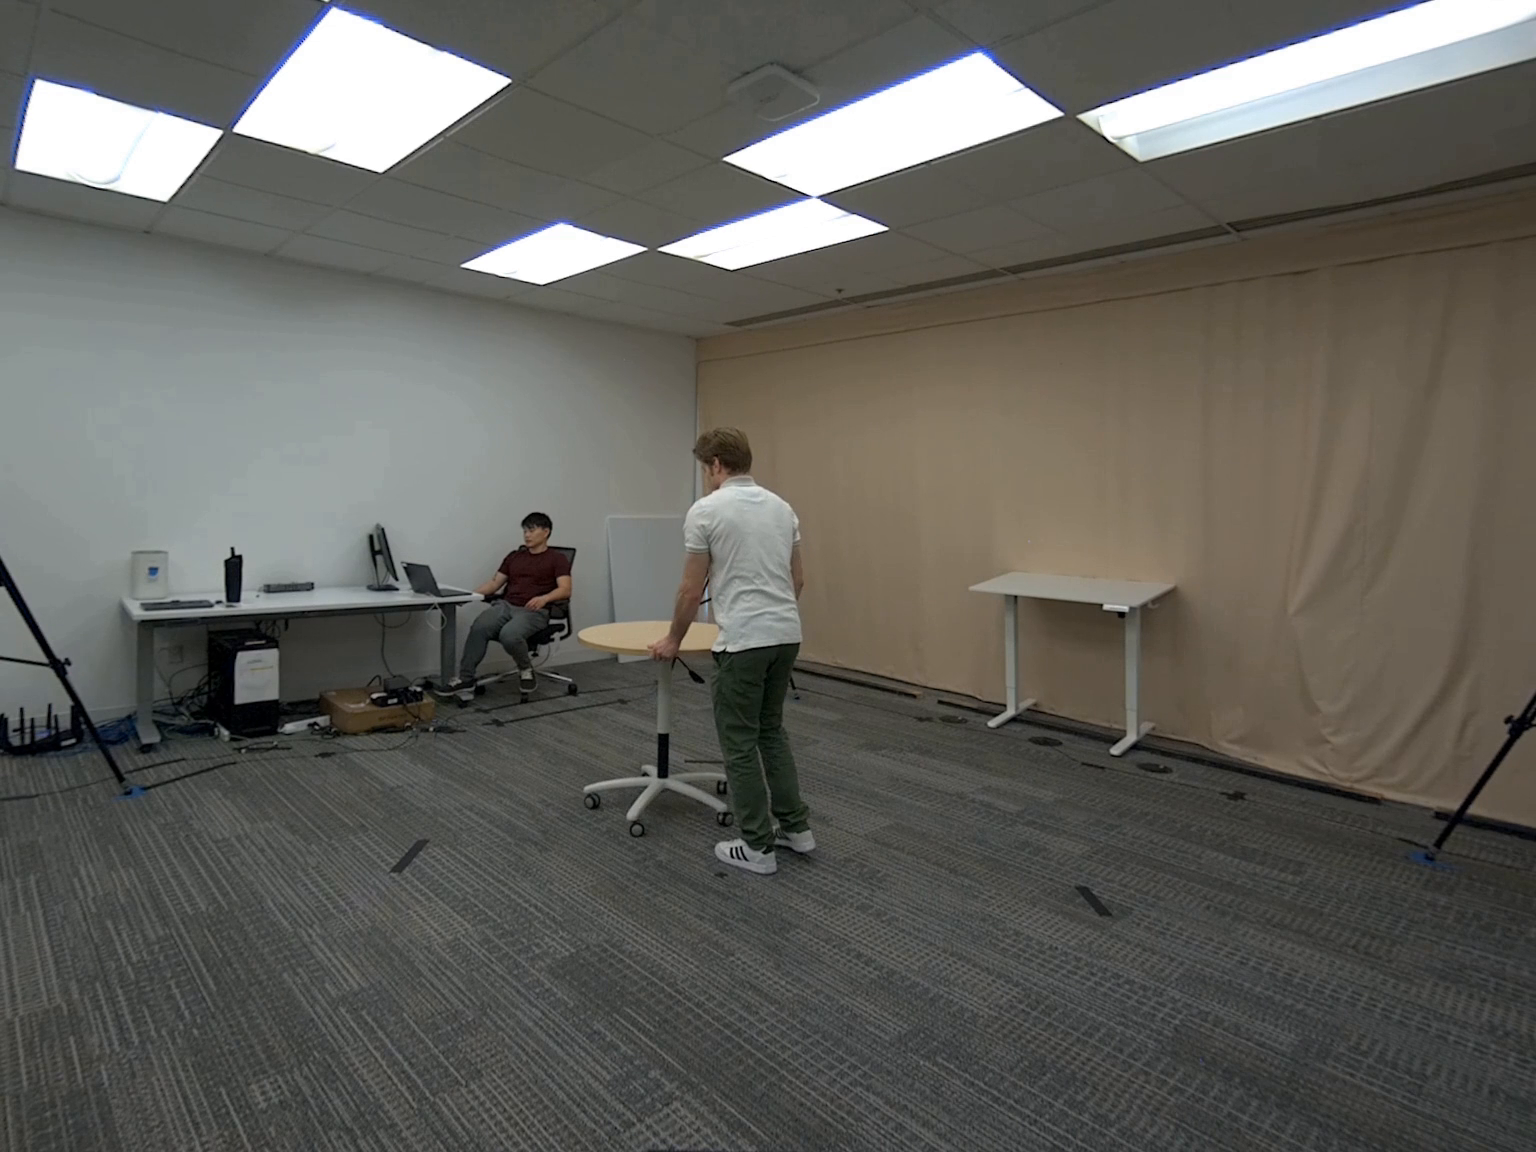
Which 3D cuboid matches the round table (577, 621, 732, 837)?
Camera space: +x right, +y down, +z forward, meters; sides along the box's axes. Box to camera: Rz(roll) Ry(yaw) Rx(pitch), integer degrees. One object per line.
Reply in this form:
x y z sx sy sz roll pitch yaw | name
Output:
-0.465 0.650 3.745 0.763 0.792 0.766 1 4 -1 | round table
